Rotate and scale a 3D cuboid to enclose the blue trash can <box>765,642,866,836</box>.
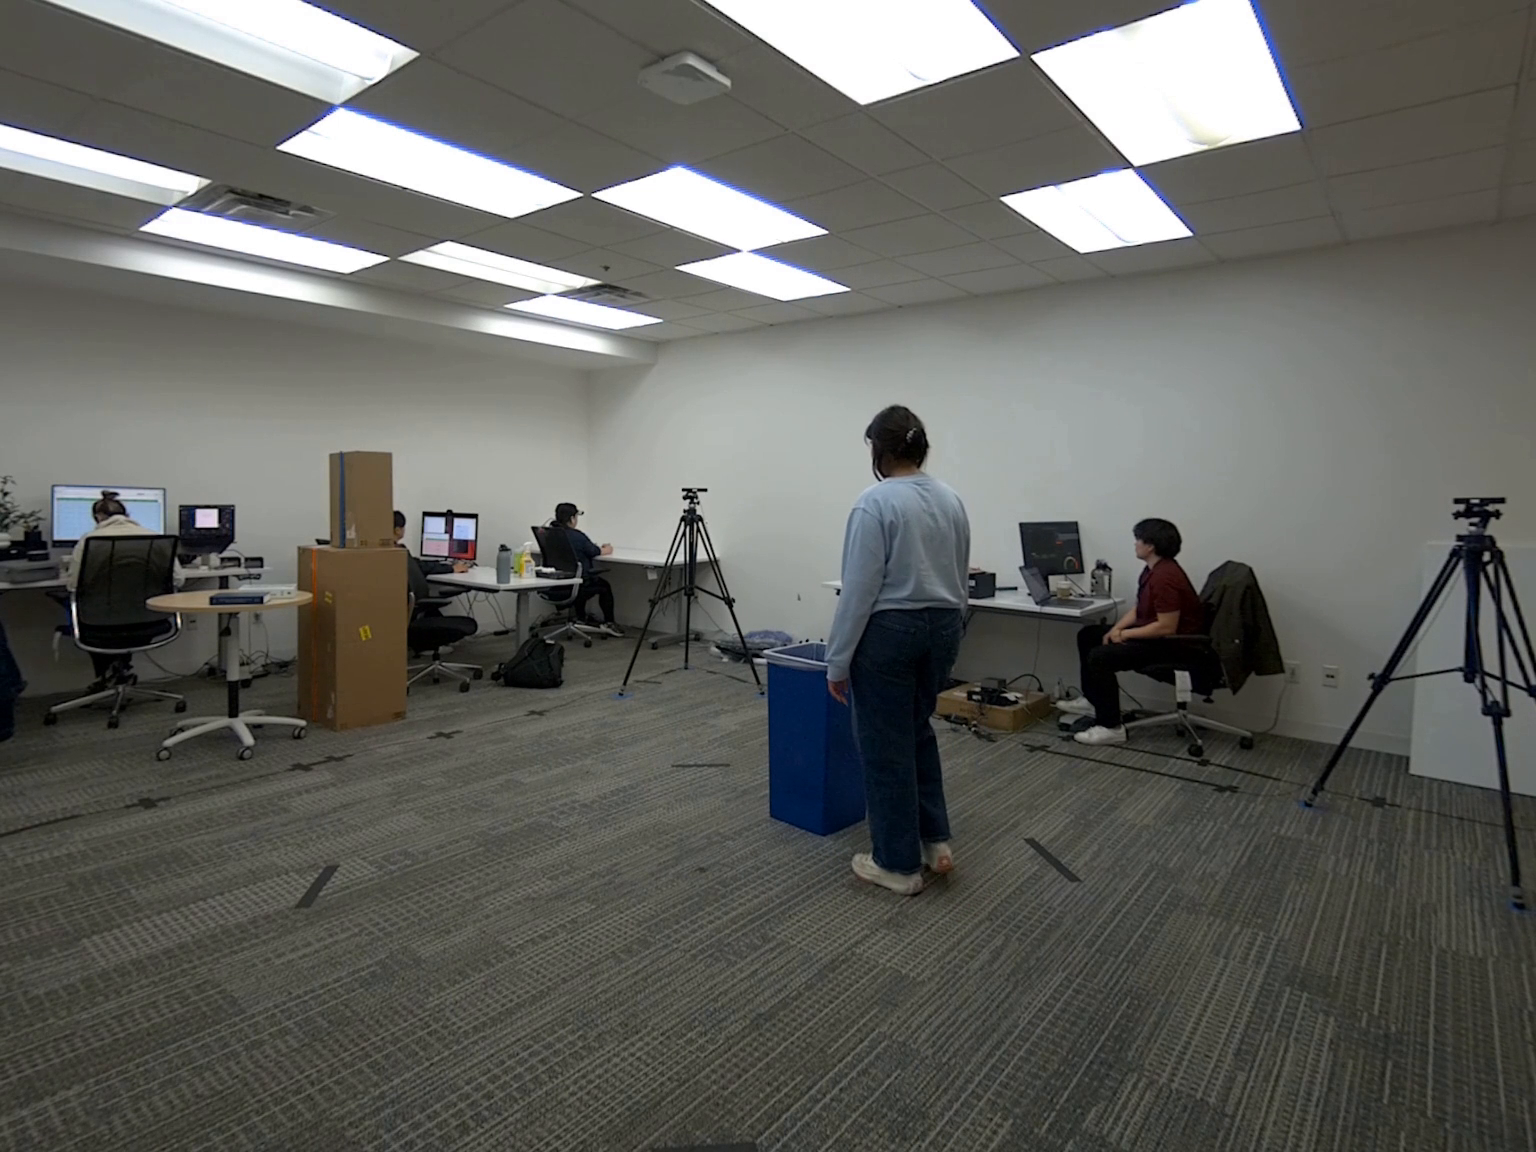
[{"bbox_3d":[0.200,0.671,3.615,0.387,0.711,0.367,5,6,43],"label":"blue trash can"}]
